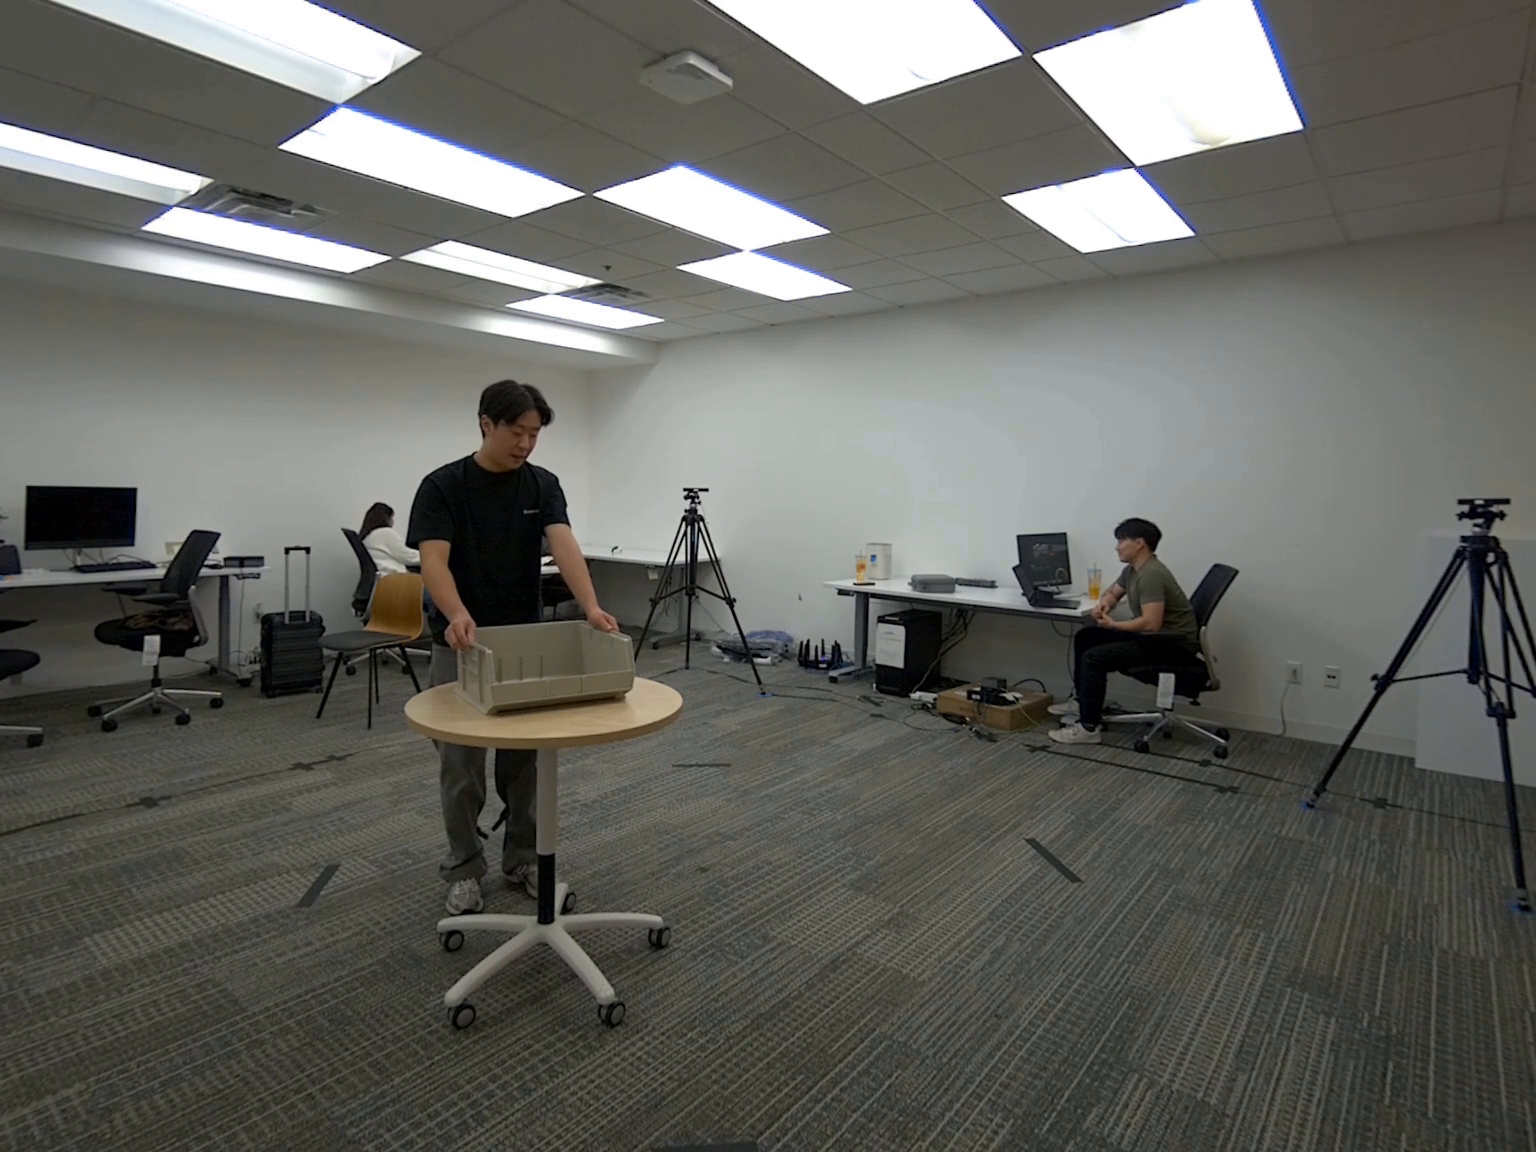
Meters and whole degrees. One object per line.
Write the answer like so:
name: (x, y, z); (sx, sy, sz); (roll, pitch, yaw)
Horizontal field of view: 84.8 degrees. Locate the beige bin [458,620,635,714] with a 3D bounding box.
beige bin: (-0.661, 0.254, 2.449); (0.410, 0.188, 0.389); (-3, 6, -34)
